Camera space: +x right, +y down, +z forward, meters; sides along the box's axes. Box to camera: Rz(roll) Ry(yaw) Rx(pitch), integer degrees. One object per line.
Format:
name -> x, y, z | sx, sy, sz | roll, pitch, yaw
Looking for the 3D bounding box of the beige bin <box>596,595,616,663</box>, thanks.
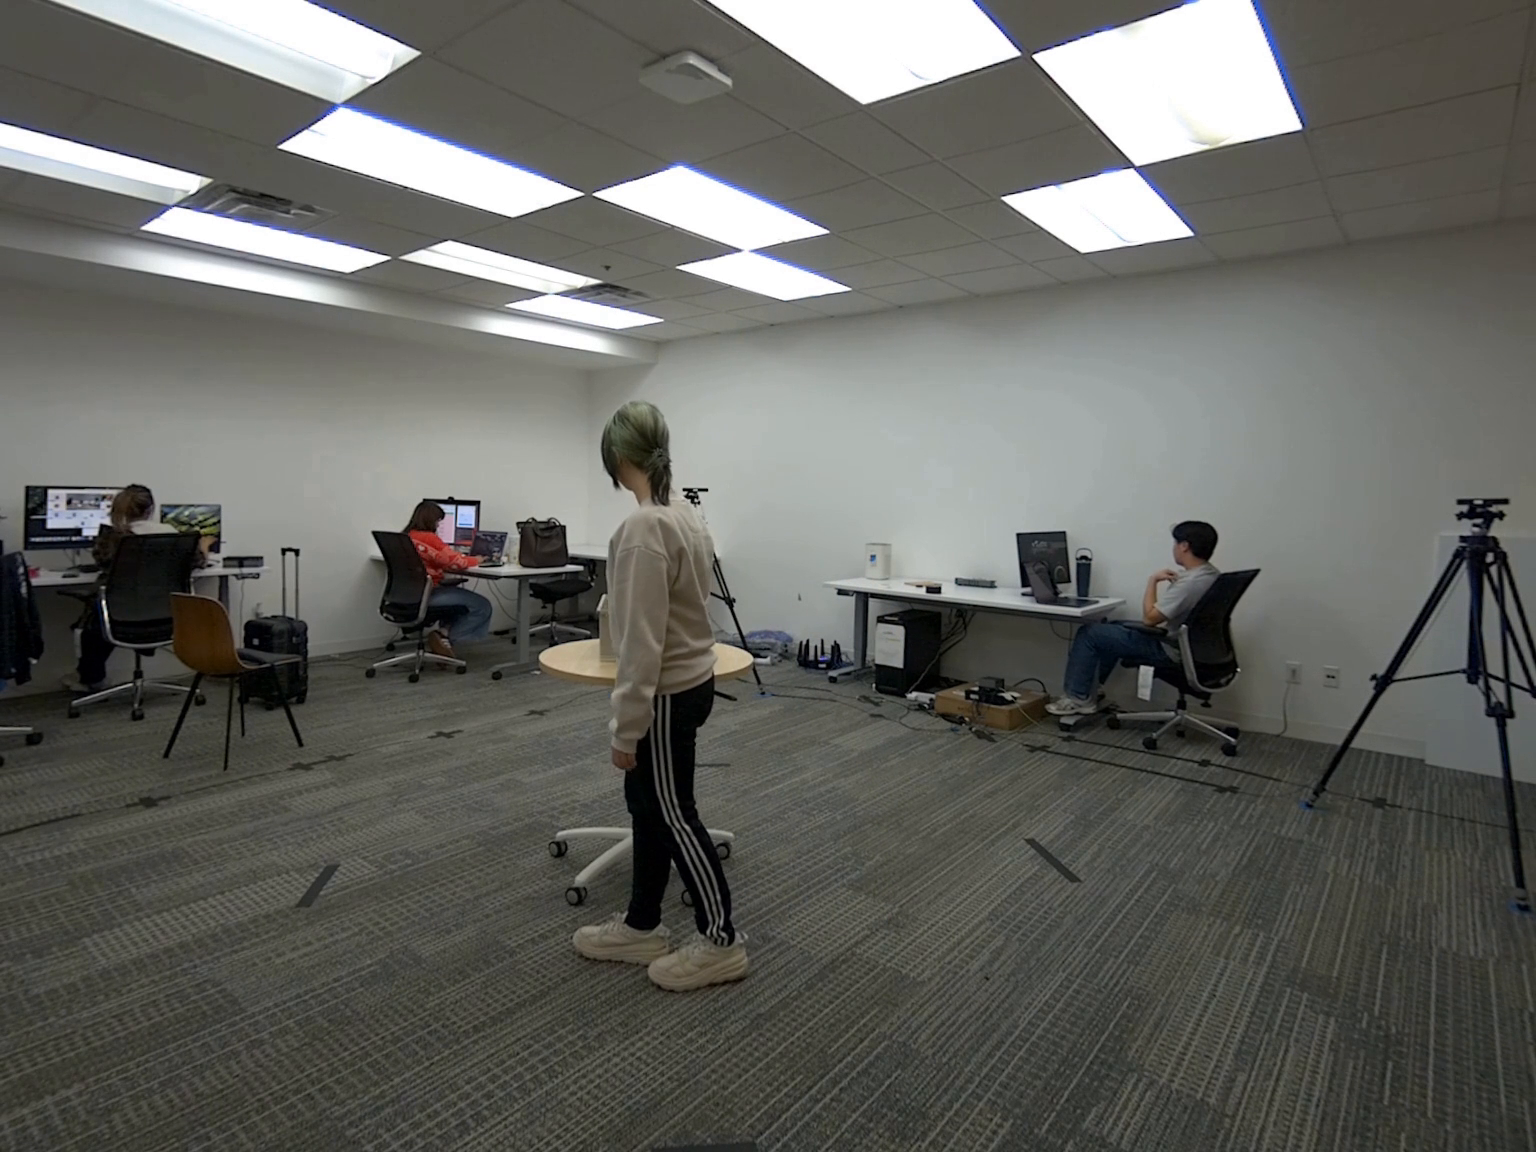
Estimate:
beige bin -> -0.439, 0.182, 3.152 | 0.376, 0.188, 0.426 | -1, 5, -5
